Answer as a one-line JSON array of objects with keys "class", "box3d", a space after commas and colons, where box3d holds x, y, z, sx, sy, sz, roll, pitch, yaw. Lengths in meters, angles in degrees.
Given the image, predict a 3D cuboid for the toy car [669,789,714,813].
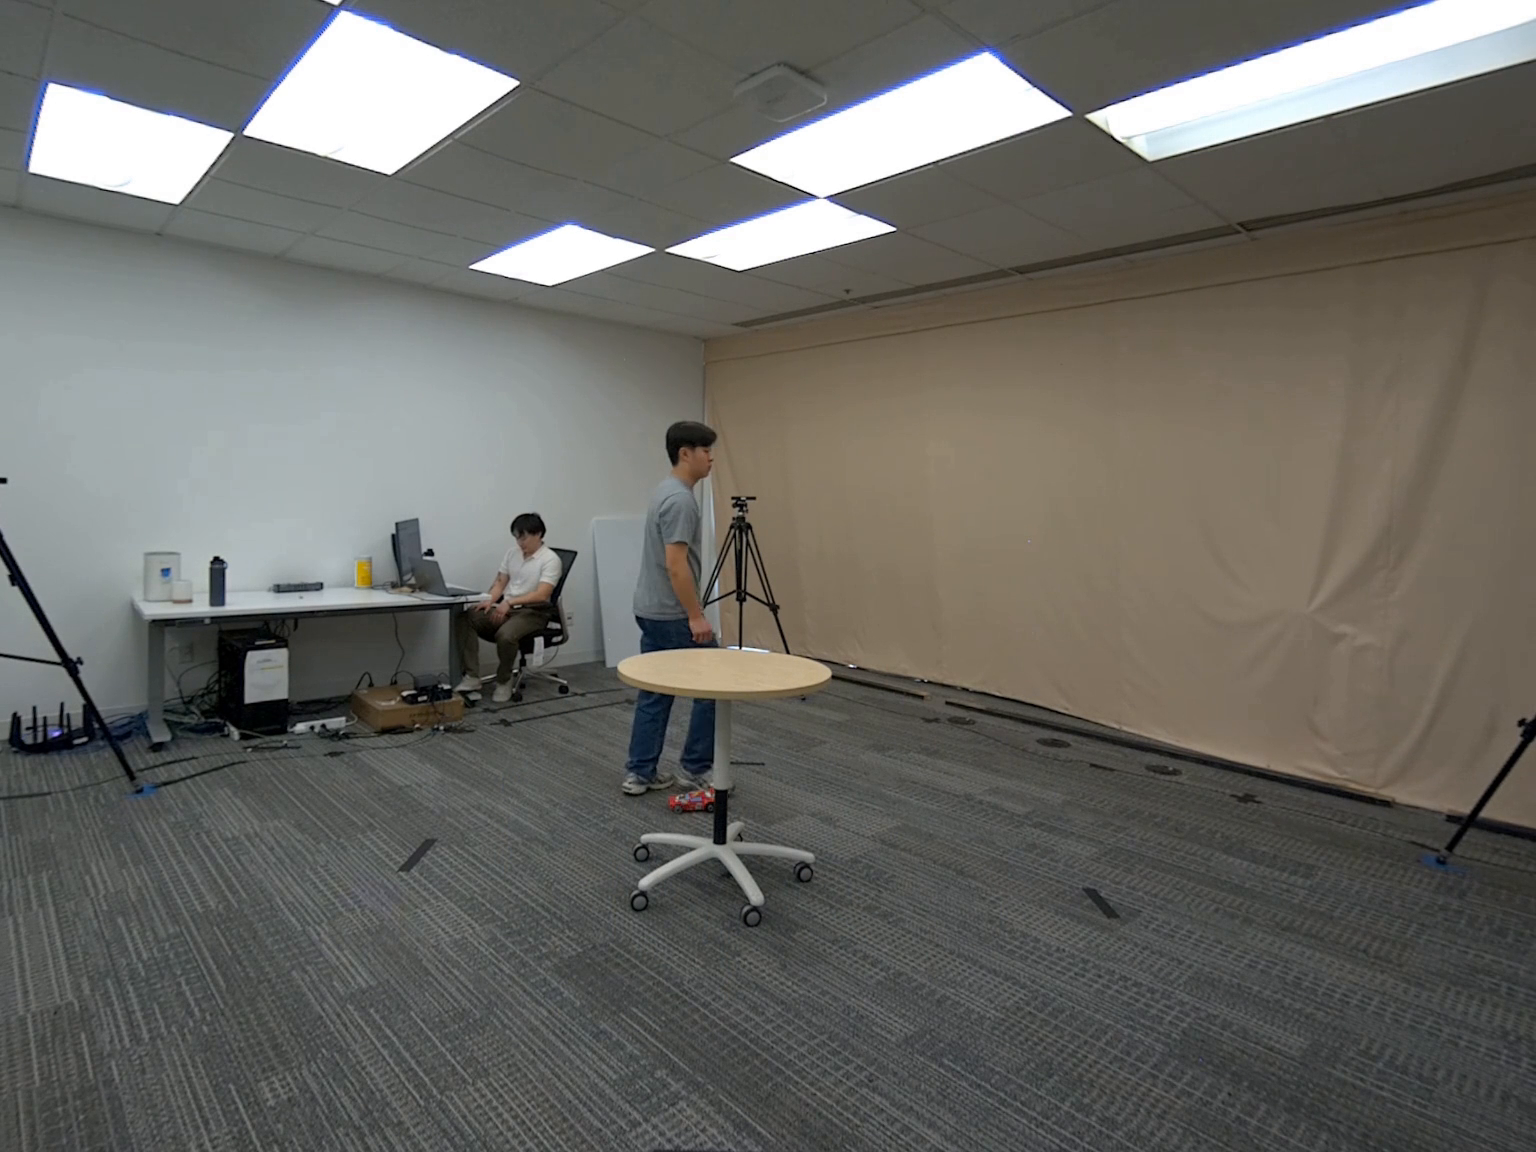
[{"class": "toy car", "box3d": [-0.323, 1.014, 3.771, 0.253, 0.083, 0.132, -11, 6, -9]}]
